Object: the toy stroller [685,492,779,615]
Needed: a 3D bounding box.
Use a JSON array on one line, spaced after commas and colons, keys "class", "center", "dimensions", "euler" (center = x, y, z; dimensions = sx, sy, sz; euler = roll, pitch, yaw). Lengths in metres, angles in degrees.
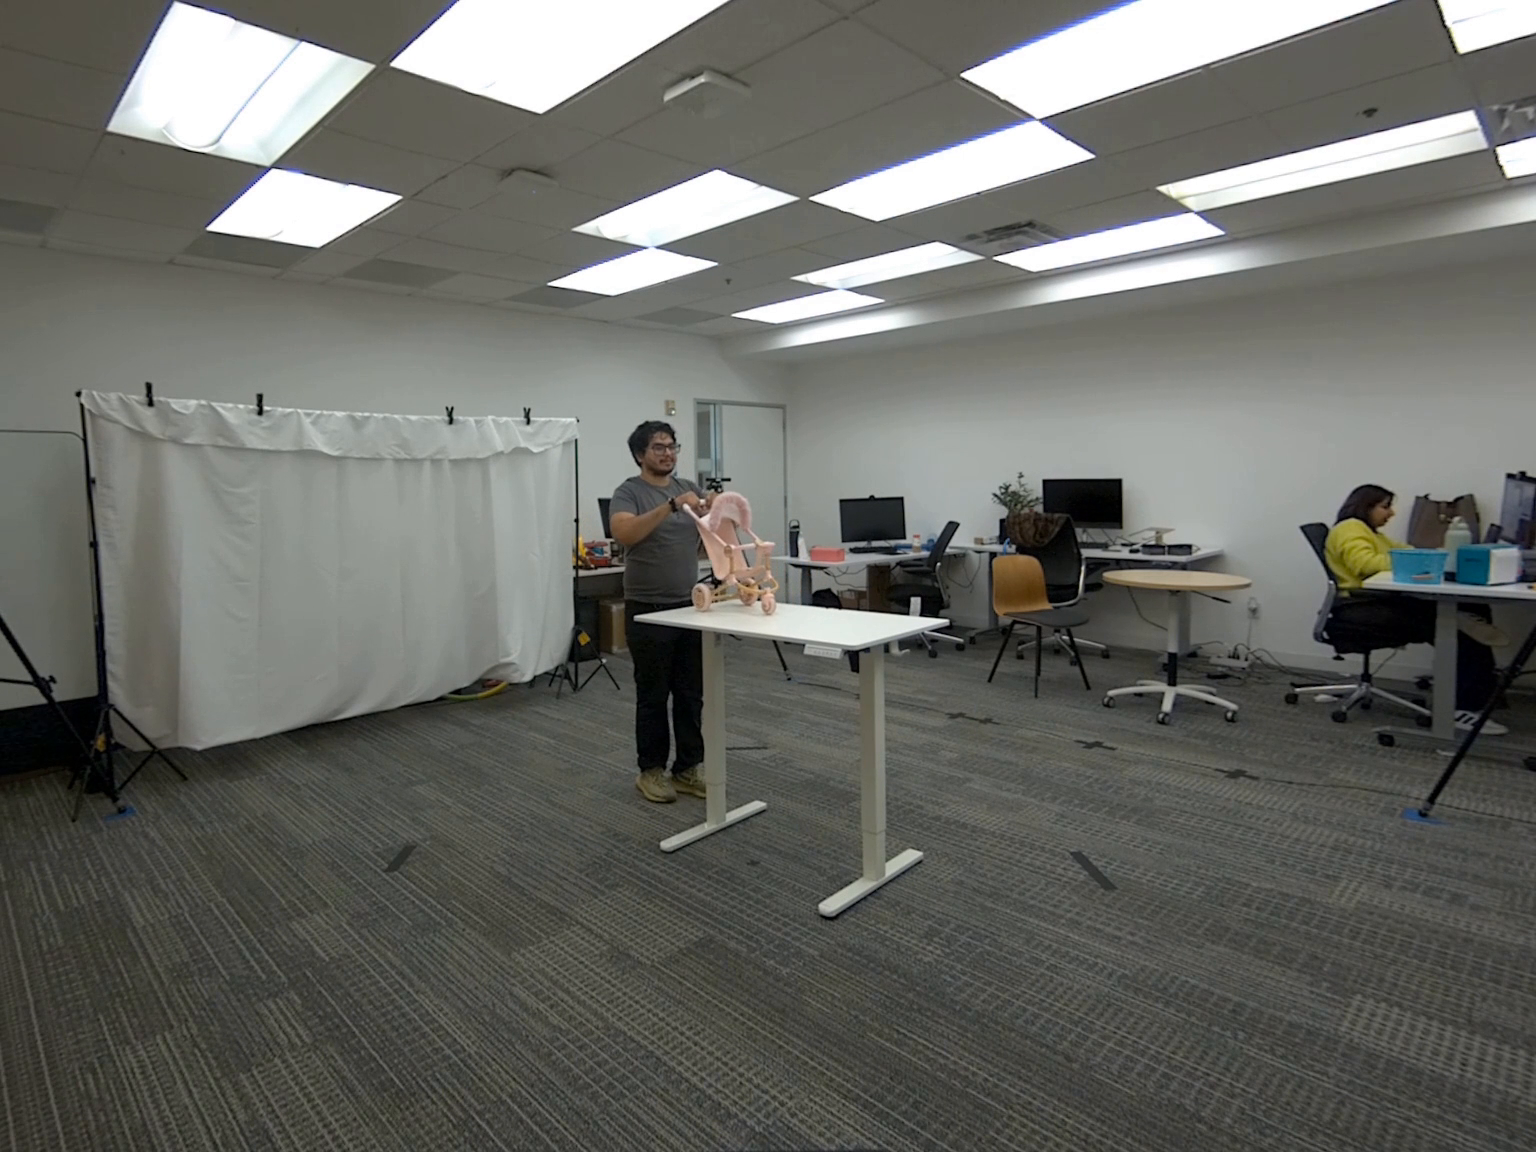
[{"class": "toy stroller", "center": [-0.126, -0.091, 3.349], "dimensions": [0.274, 0.540, 0.347], "euler": [-4, -11, -39]}]
